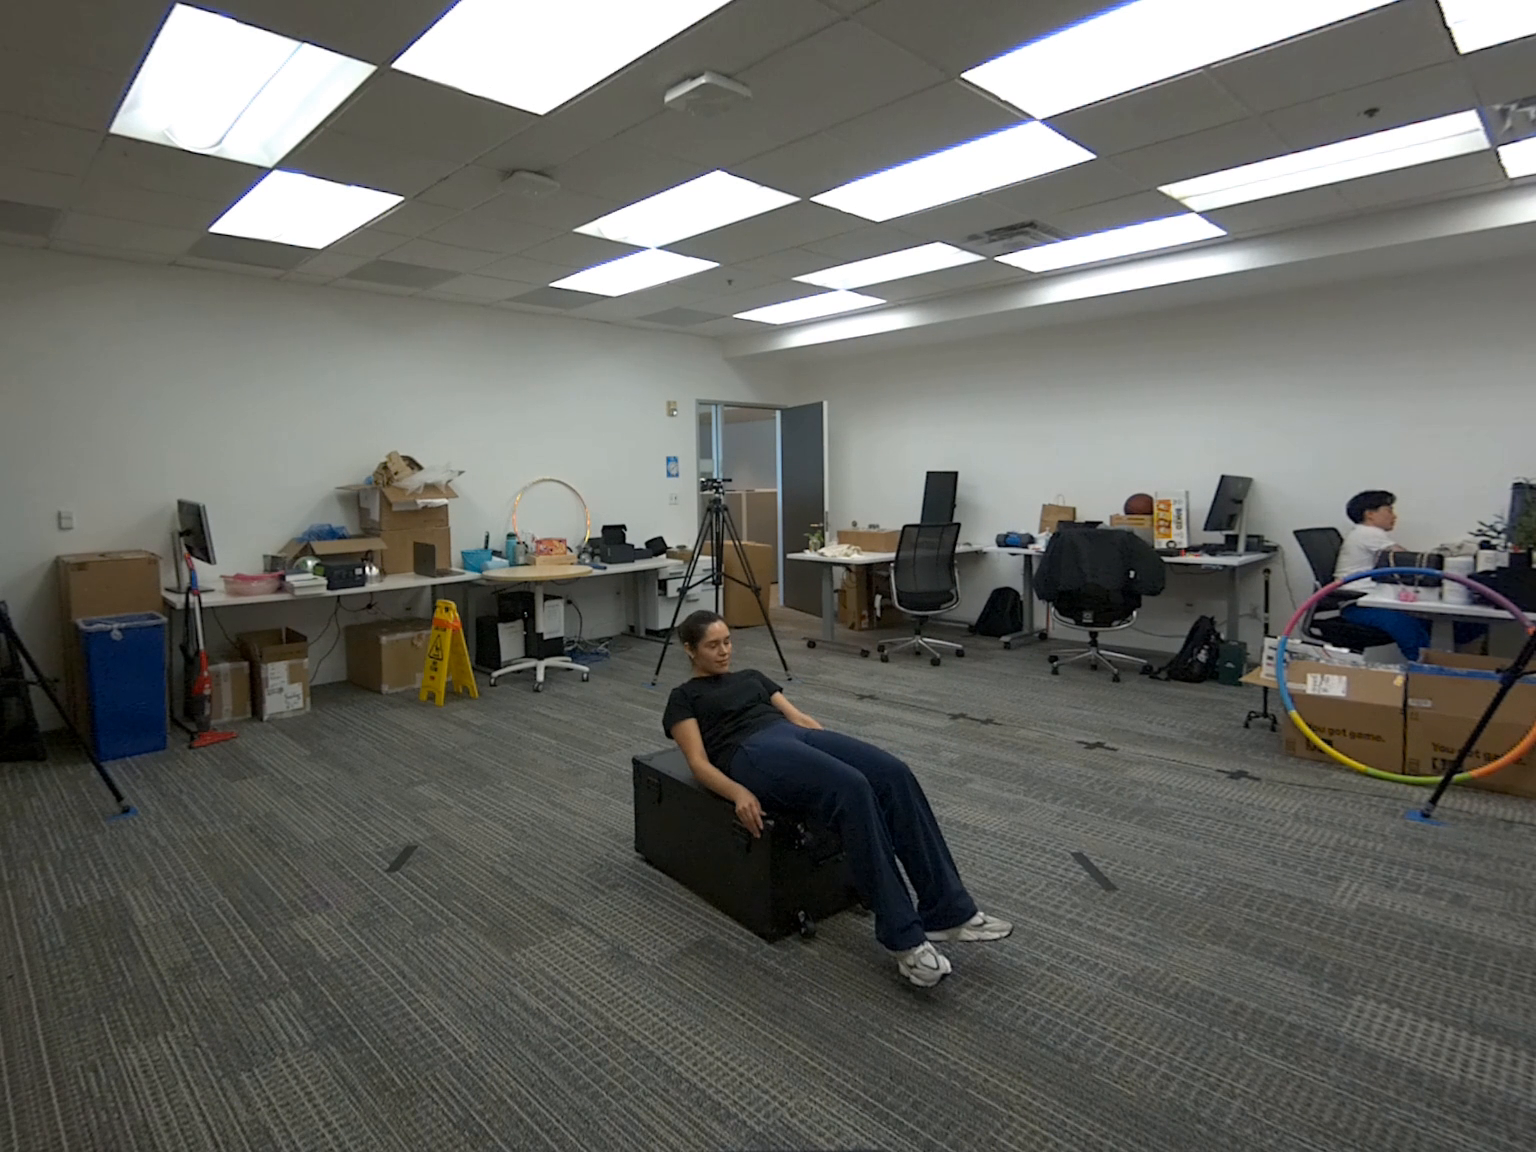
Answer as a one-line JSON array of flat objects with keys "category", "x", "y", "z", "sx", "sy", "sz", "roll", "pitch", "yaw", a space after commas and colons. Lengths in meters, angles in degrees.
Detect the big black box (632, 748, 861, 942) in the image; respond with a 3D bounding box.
[{"category": "big black box", "x": -0.080, "y": 0.864, "z": 3.037, "sx": 0.508, "sy": 0.394, "sz": 0.889, "roll": -5, "pitch": 8, "yaw": -39}]
